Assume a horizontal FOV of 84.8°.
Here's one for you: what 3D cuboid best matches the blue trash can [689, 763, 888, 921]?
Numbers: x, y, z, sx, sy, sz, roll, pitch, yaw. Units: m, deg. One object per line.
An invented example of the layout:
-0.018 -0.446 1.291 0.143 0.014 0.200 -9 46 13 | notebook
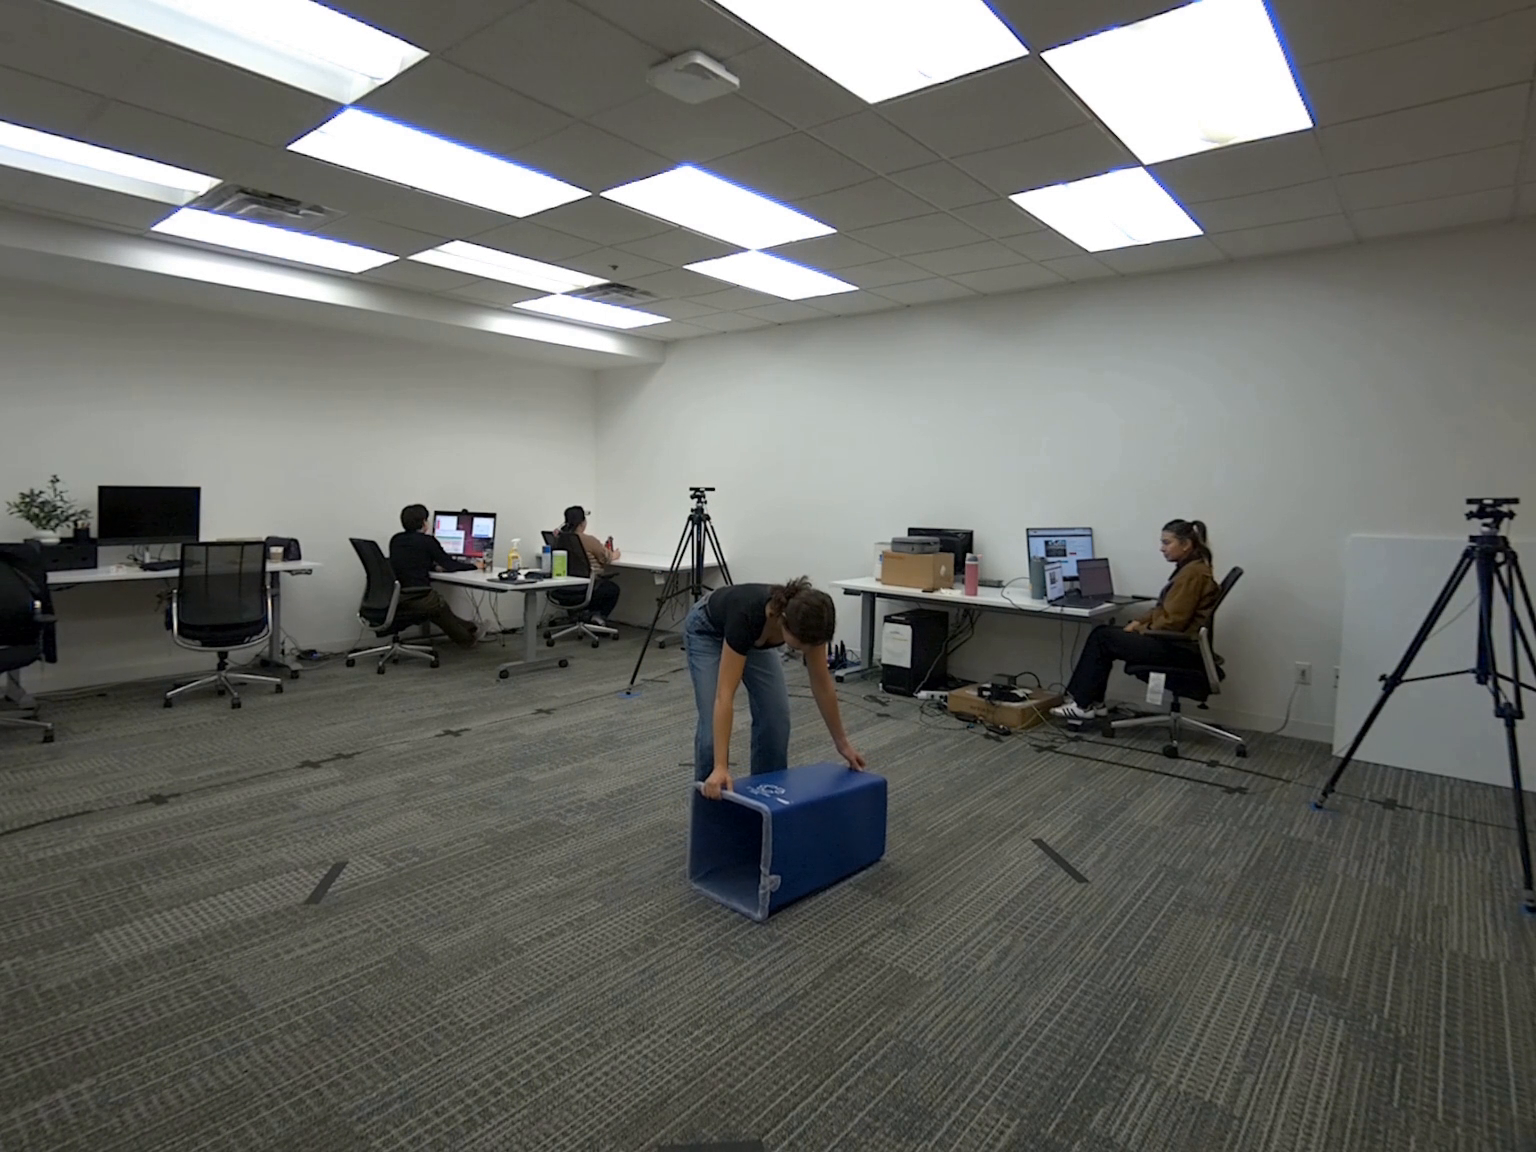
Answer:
0.093 0.911 3.072 0.390 0.374 0.690 2 1 45 | blue trash can
